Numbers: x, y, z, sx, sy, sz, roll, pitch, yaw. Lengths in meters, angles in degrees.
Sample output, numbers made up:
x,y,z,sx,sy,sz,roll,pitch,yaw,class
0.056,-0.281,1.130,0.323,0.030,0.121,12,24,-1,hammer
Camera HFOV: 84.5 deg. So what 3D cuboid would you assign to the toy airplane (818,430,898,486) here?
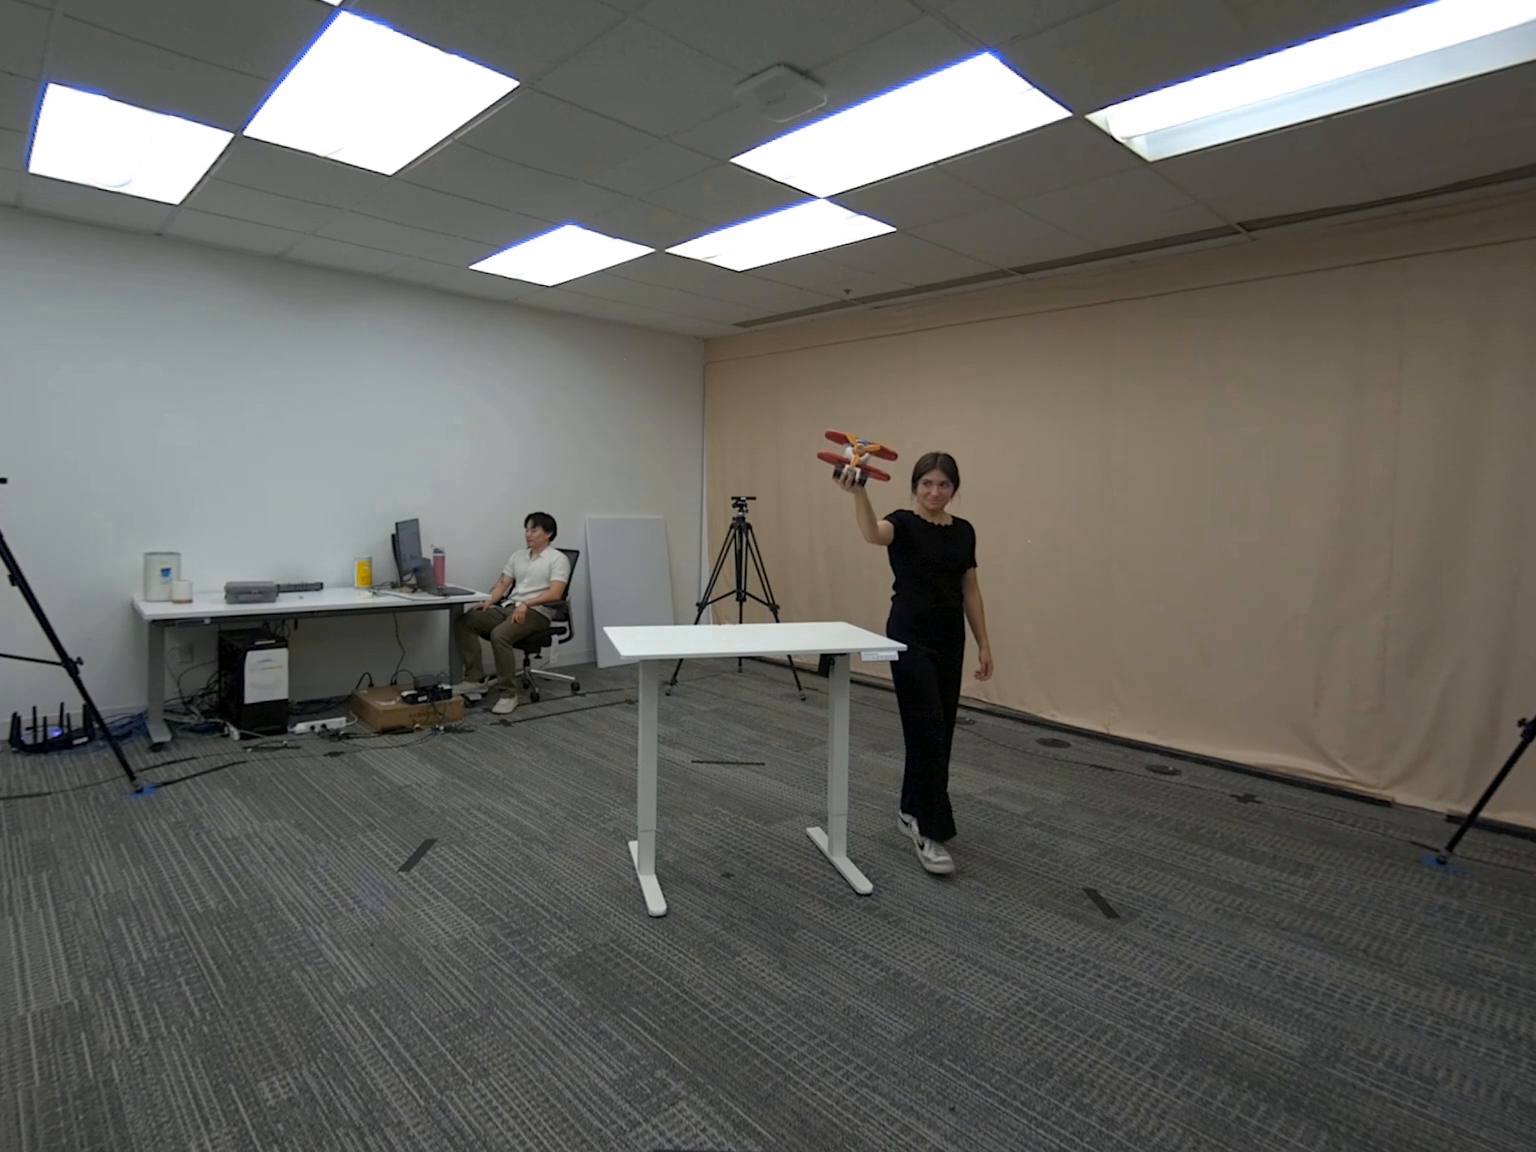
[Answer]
x,y,z,sx,sy,sz,roll,pitch,yaw,class
0.270,-0.394,2.855,0.246,0.156,0.265,18,7,-24,toy airplane
